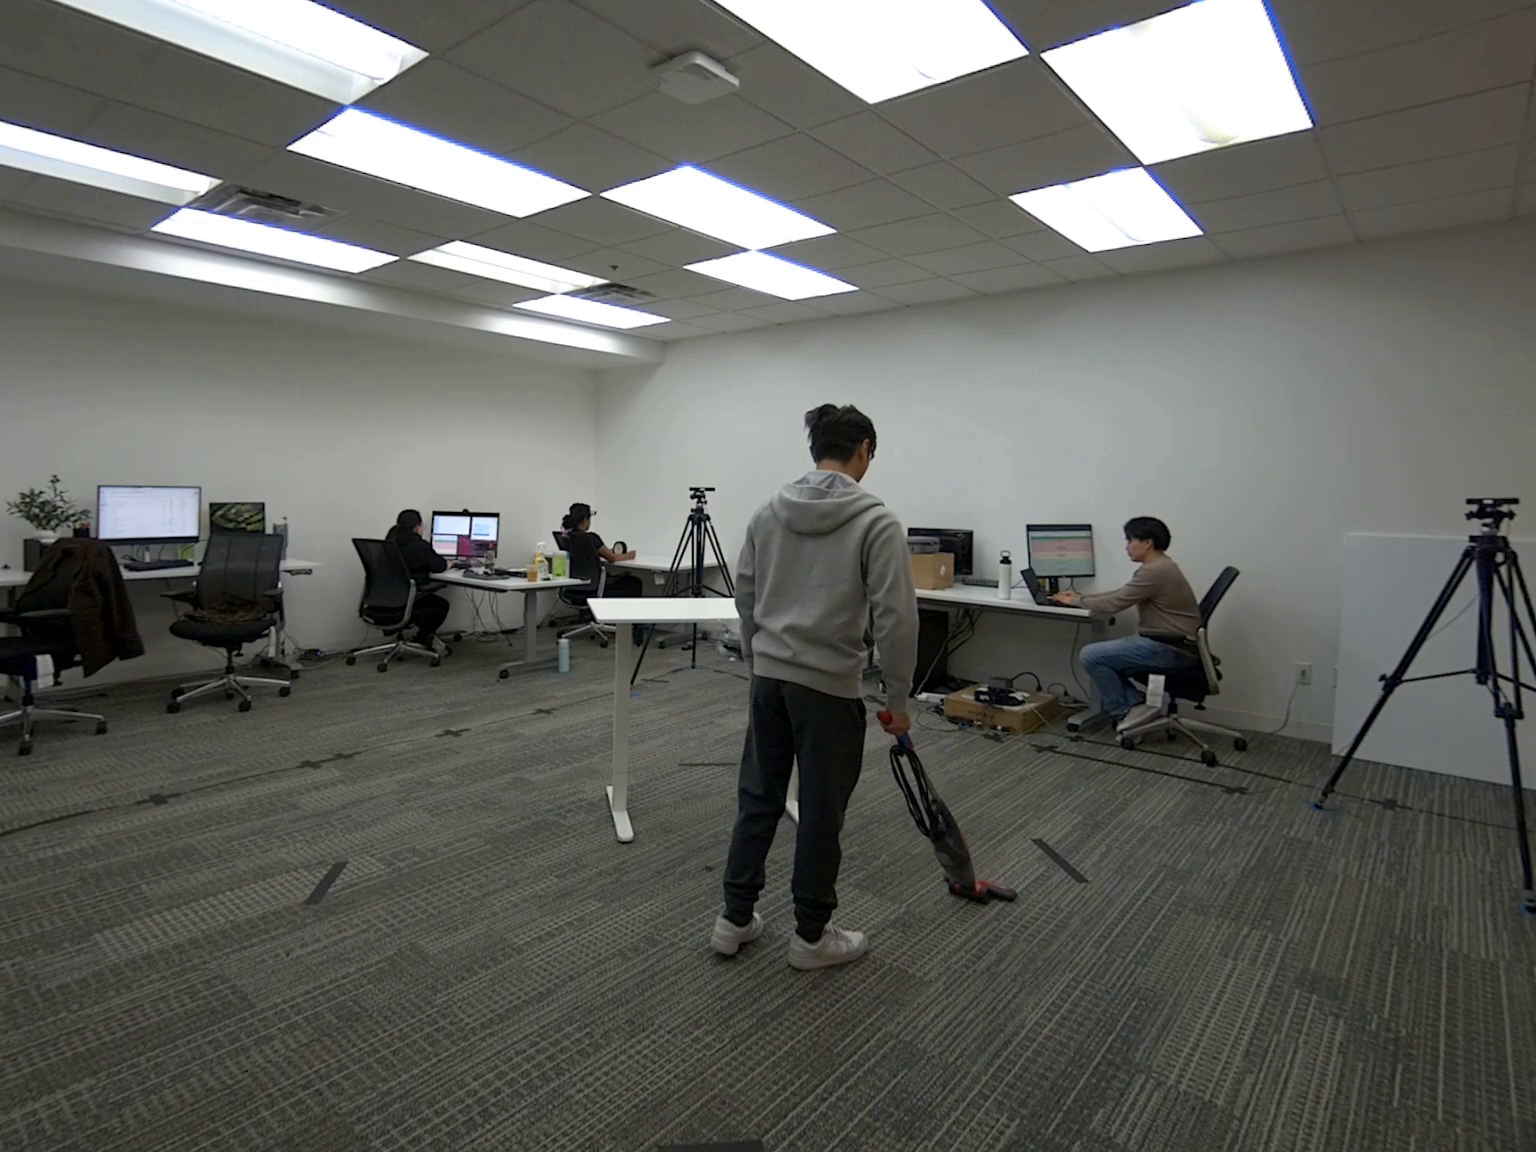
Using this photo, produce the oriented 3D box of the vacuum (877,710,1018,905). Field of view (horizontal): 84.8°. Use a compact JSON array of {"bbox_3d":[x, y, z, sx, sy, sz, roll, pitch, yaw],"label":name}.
[{"bbox_3d":[0.517,0.745,2.681,0.260,1.010,0.145,1,46,35],"label":"vacuum"}]
